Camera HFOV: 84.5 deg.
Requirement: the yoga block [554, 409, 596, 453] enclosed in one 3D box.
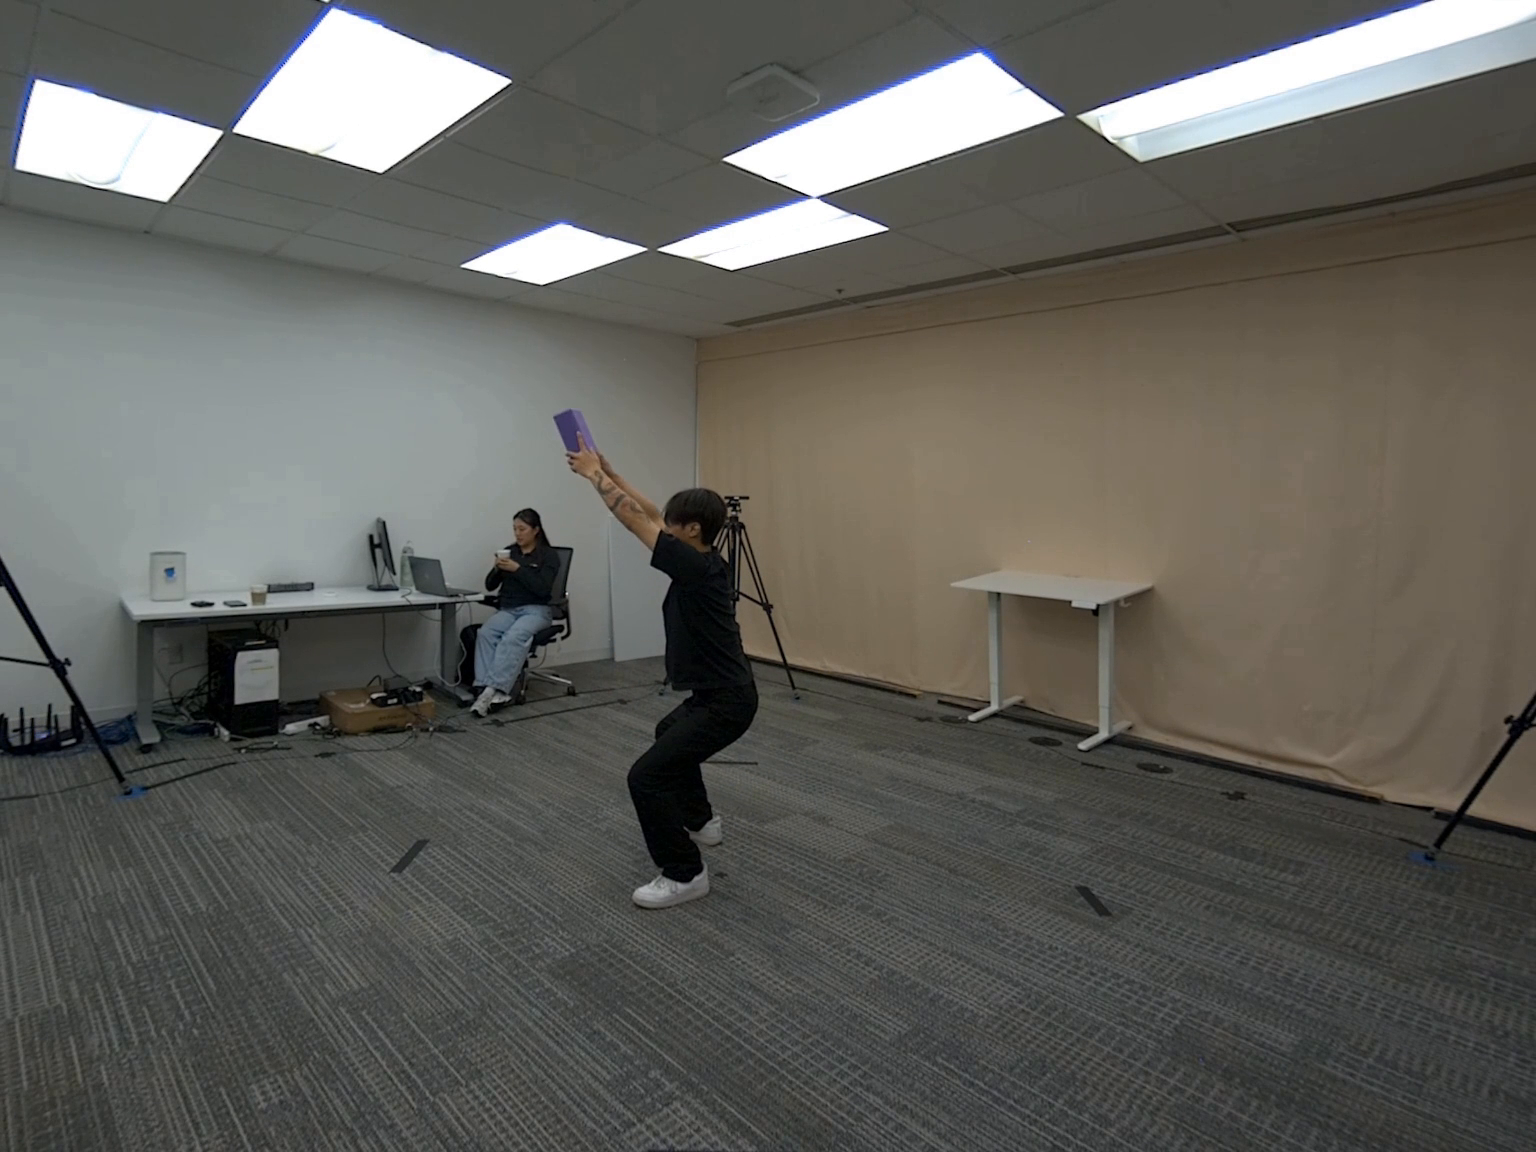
[{"bbox_3d":[-0.727,-0.507,3.154,0.077,0.228,0.149,-19,6,11],"label":"yoga block"}]
